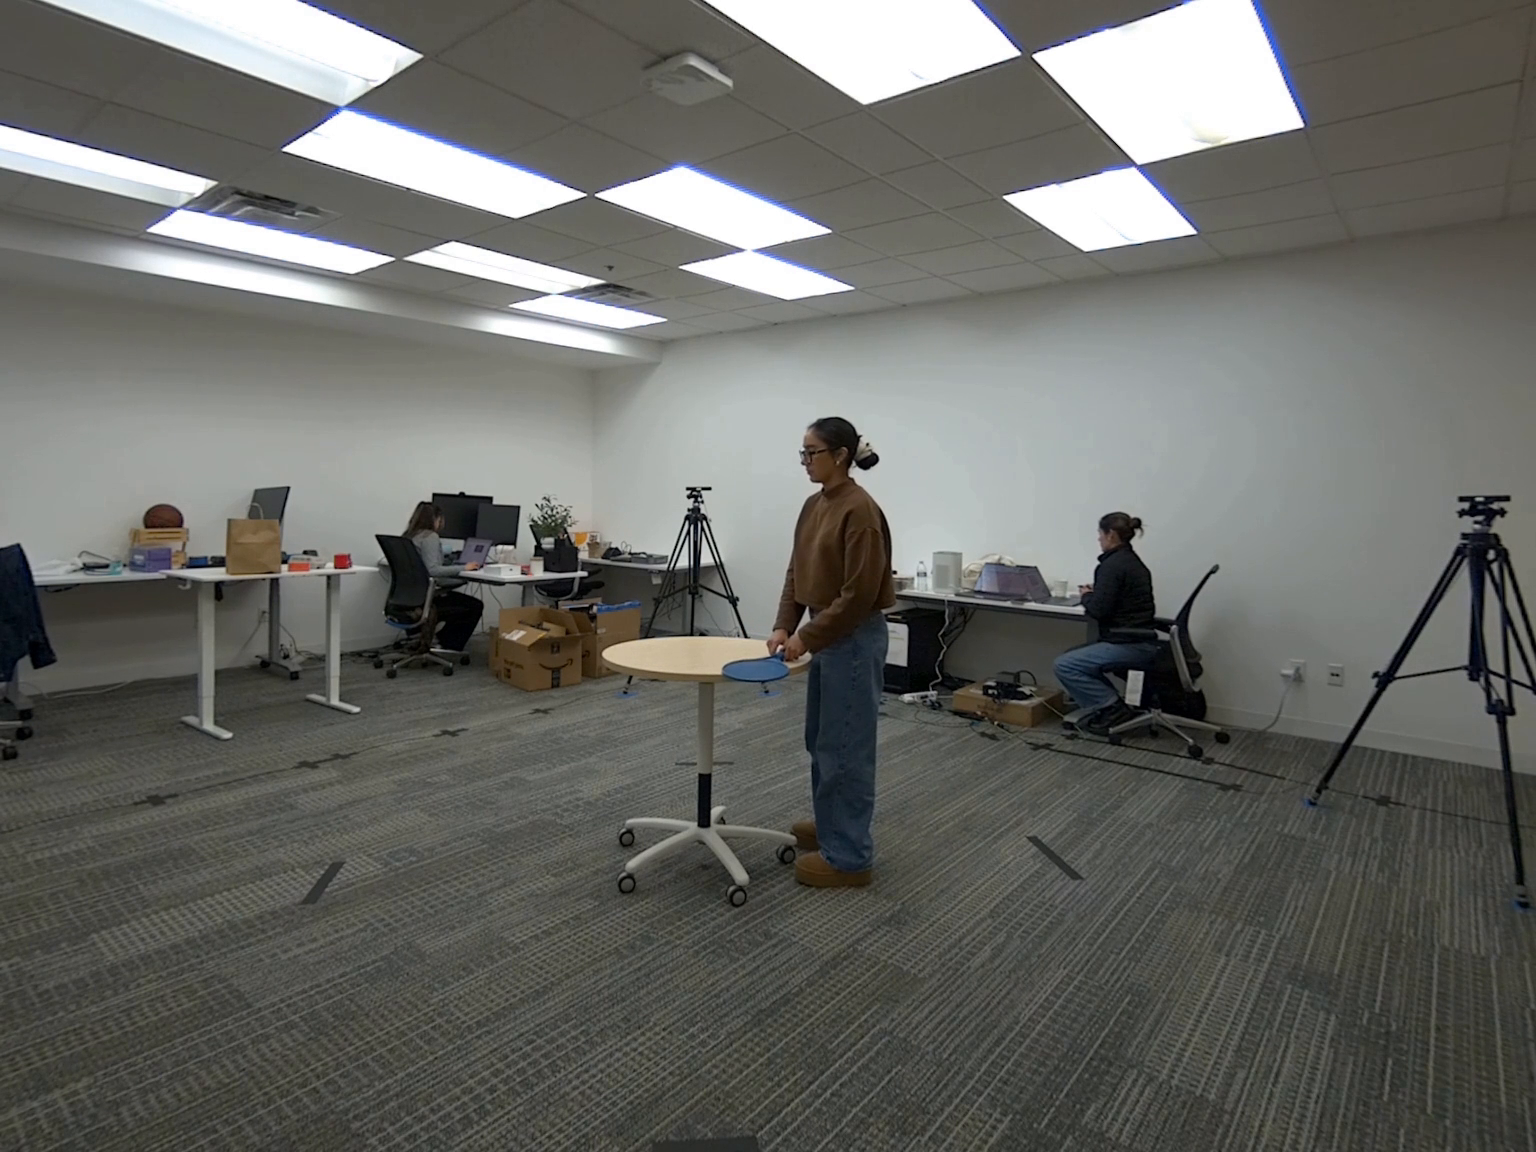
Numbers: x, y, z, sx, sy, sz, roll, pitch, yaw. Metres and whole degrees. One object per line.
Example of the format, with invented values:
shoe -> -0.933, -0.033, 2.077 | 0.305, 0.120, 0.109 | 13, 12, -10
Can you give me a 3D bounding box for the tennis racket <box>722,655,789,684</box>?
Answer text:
tennis racket -> -0.011, 0.302, 2.870 | 0.220, 0.031, 0.423 | 5, 9, 27
